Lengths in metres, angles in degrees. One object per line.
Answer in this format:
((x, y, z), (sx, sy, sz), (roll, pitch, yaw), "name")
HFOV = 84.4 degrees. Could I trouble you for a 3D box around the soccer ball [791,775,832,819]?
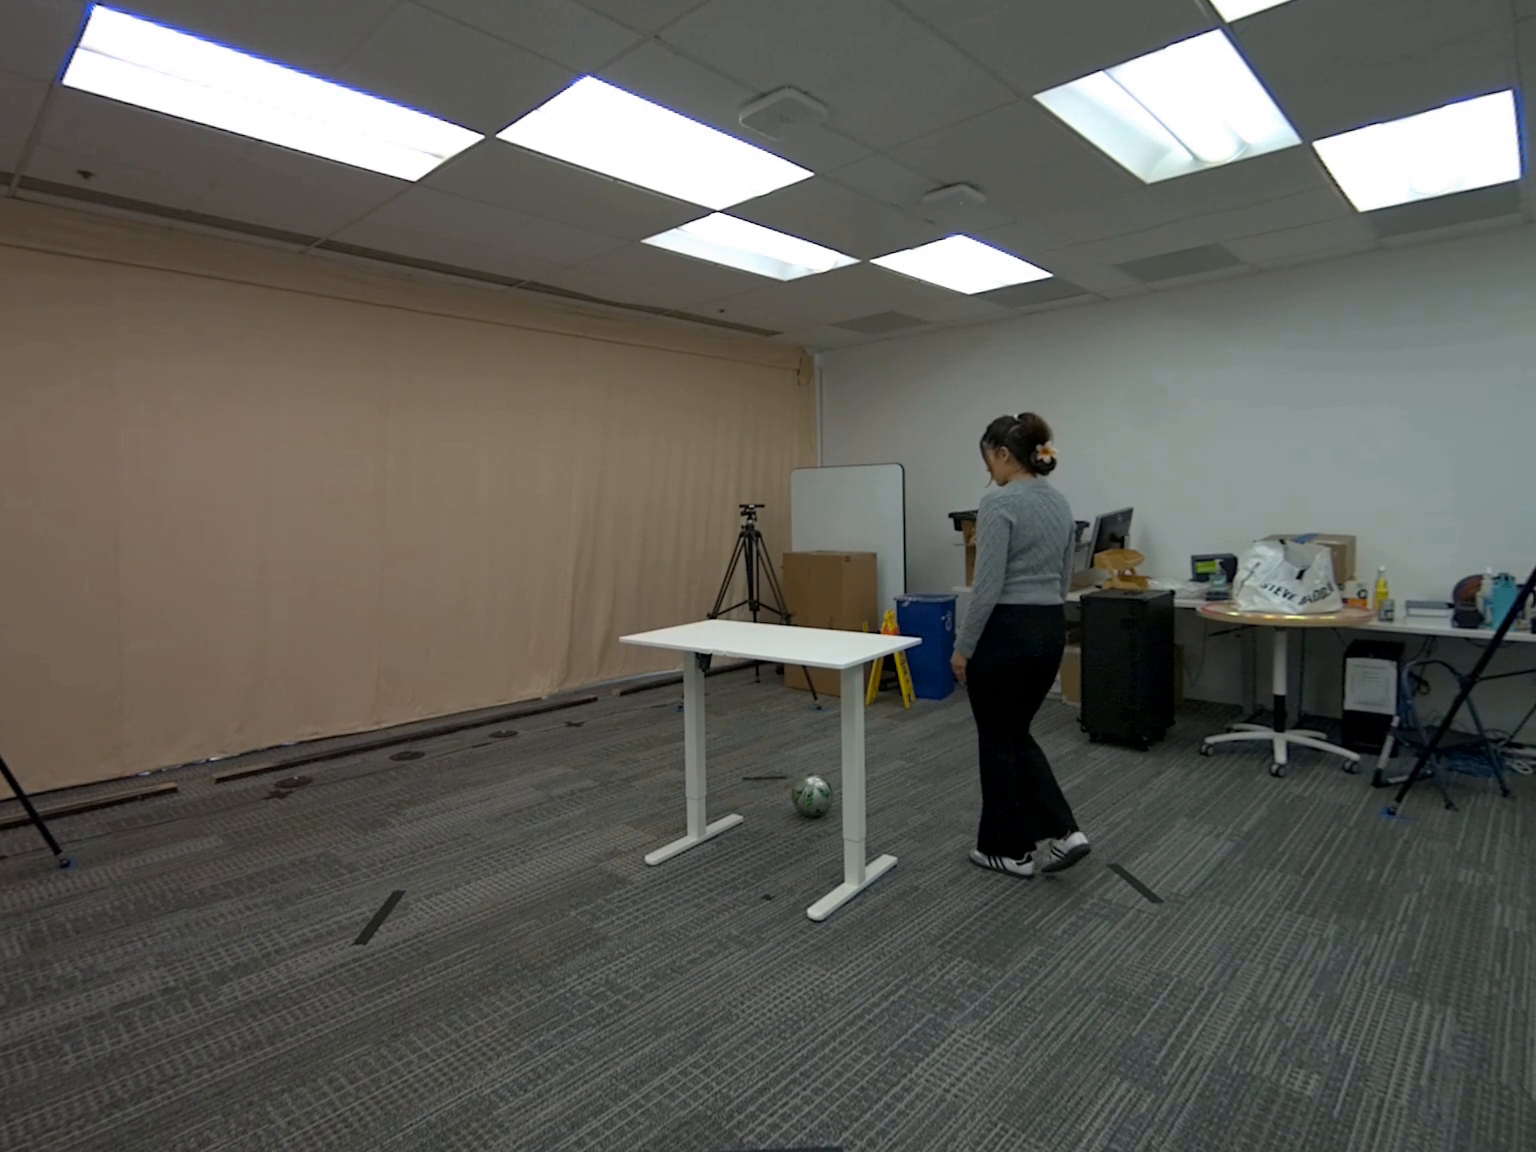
((0.198, 0.976, 3.764), (0.187, 0.187, 0.188), (-1, 4, -2), "soccer ball")
